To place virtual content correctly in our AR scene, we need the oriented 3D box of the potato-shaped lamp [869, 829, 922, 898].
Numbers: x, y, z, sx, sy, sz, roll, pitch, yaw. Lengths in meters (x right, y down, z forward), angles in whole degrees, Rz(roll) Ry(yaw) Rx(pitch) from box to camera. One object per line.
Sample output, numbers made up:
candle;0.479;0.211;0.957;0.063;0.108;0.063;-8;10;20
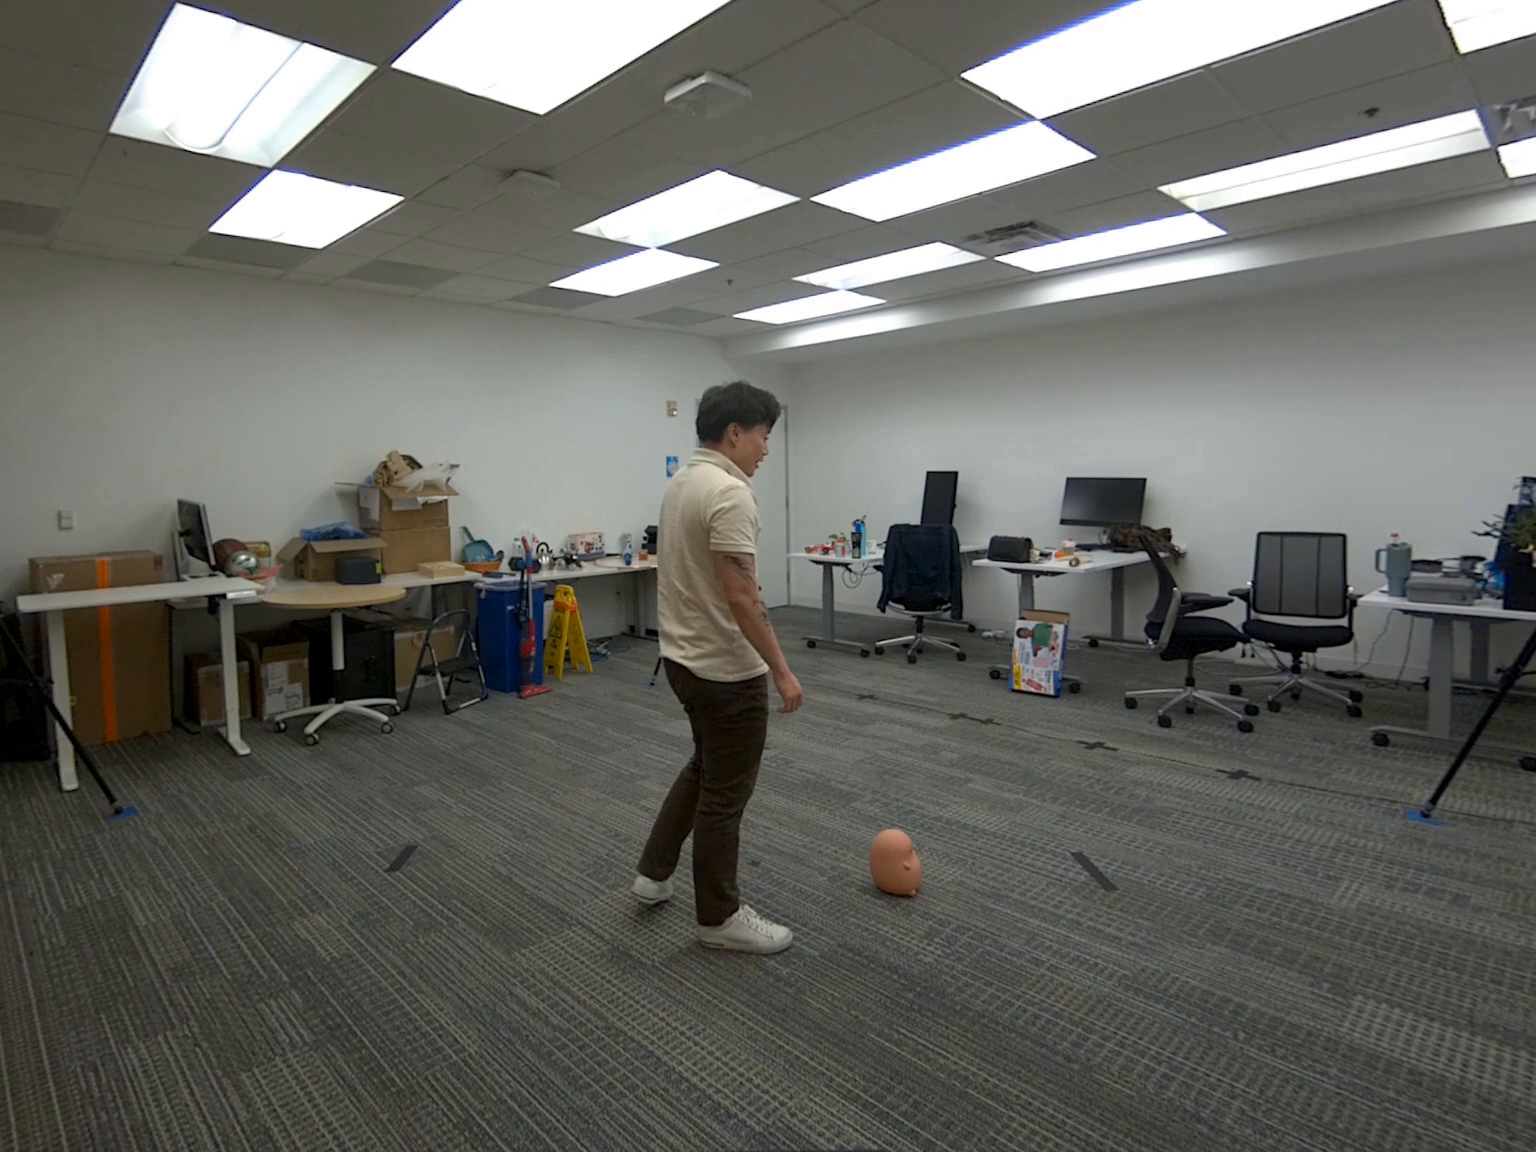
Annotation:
potato-shaped lamp;0.437;0.963;2.891;0.175;0.197;0.162;3;5;19
